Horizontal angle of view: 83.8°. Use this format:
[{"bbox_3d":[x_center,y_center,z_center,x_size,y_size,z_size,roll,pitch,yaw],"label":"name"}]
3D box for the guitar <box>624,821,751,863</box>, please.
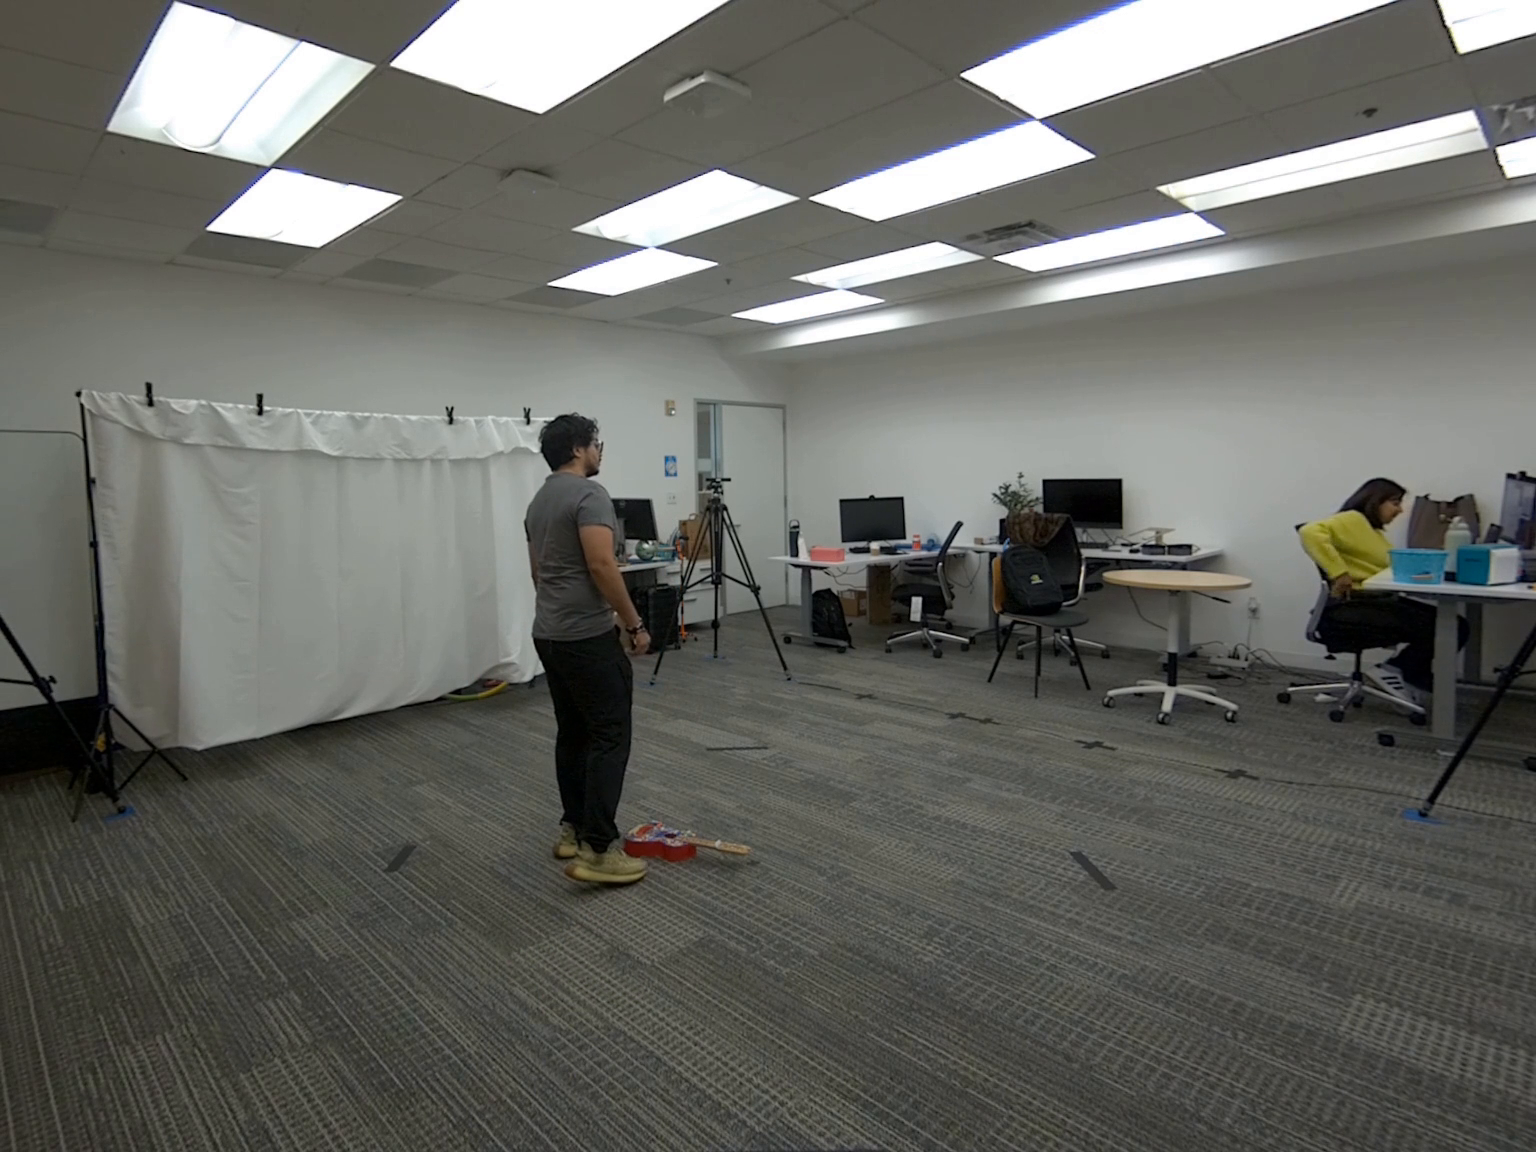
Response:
[{"bbox_3d":[-0.309,1.006,3.156,0.512,0.070,0.188,3,7,34],"label":"guitar"}]
